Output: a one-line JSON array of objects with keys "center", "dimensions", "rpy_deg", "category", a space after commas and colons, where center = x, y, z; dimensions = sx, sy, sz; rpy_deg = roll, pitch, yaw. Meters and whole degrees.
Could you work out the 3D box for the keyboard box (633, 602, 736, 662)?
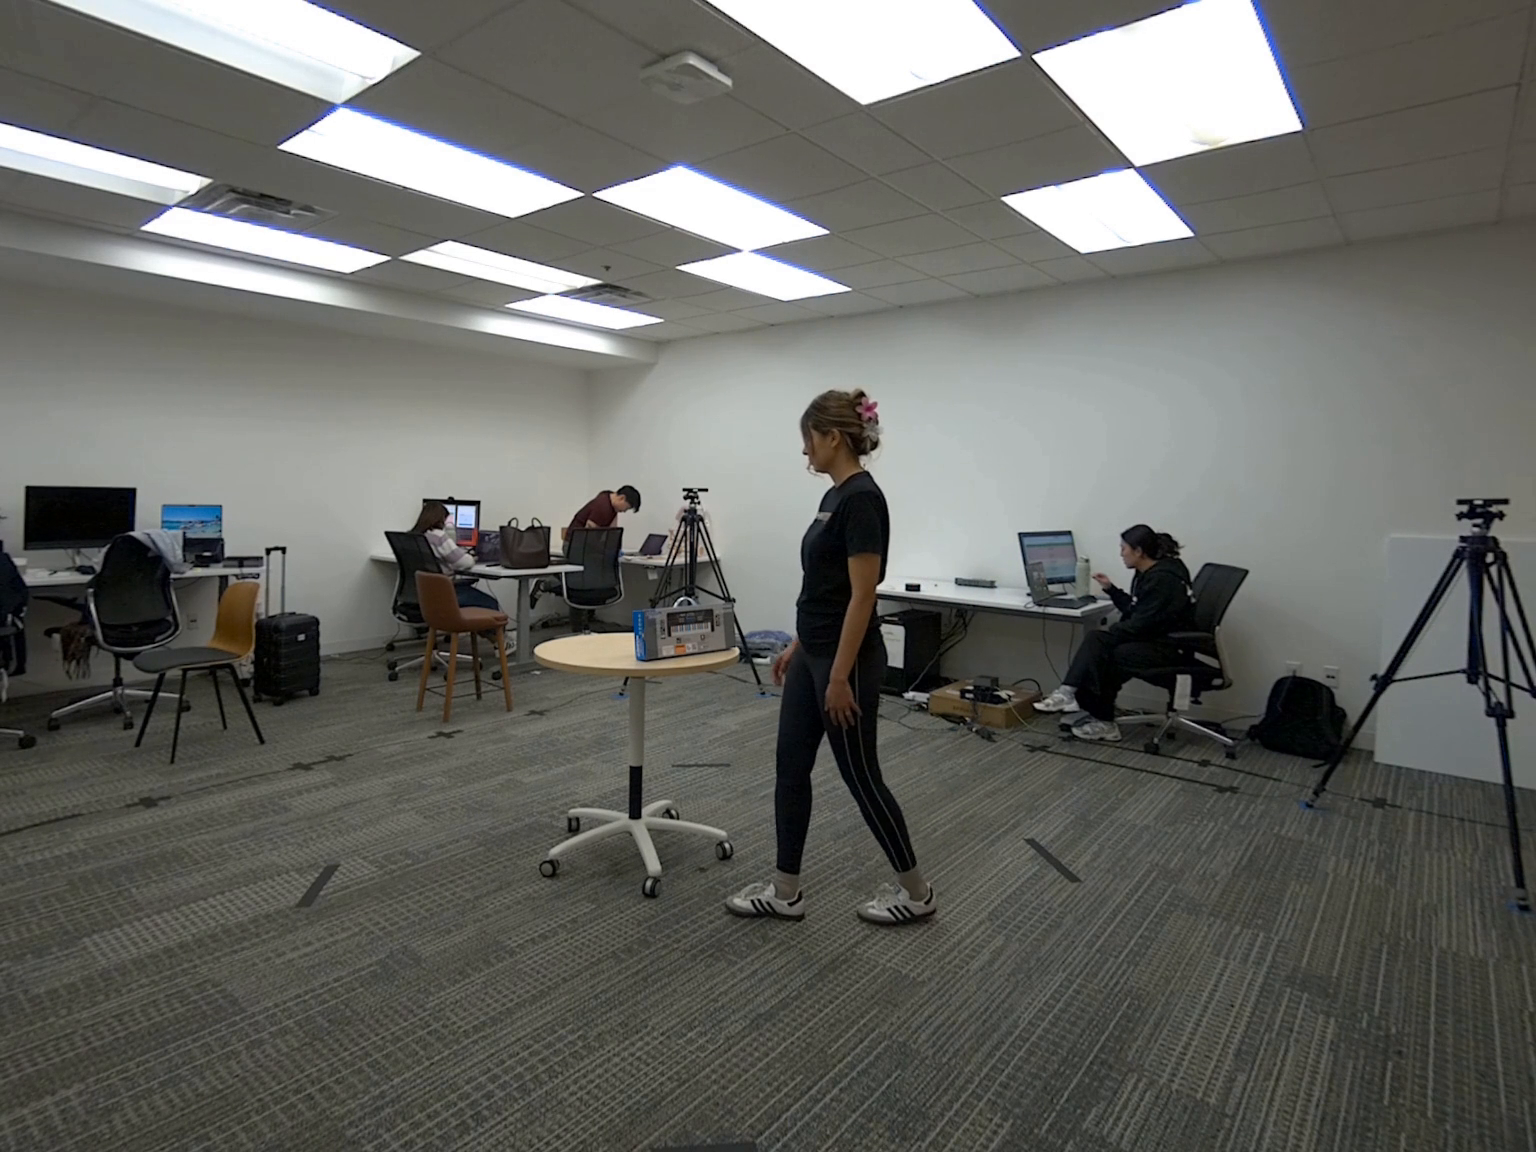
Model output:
[{"center": [-0.309, 0.197, 3.102], "dimensions": [0.423, 0.176, 0.061], "rpy_deg": [-3, -3, -44], "category": "keyboard box"}]
